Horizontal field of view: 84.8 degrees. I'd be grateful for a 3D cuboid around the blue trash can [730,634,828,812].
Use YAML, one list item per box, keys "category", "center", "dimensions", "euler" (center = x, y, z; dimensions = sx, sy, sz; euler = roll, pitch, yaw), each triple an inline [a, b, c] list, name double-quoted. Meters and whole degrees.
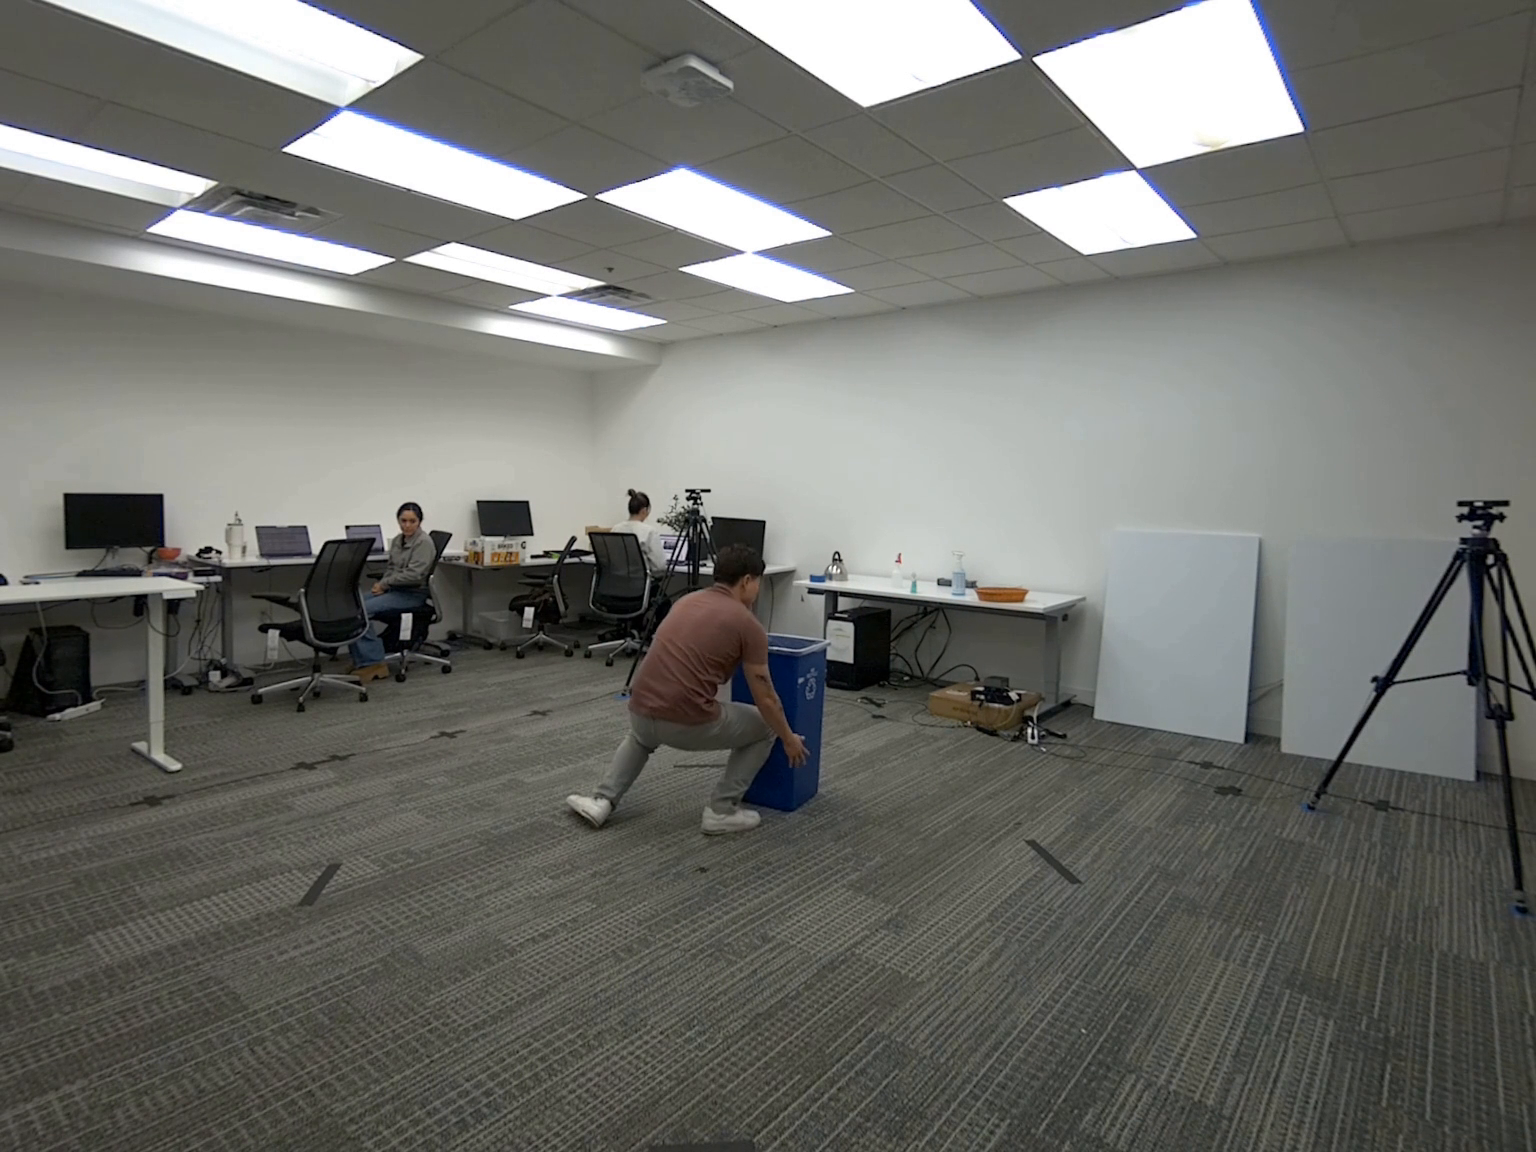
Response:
- category: "blue trash can"
  center: [0.036, 0.646, 3.884]
  dimensions: [0.389, 0.712, 0.365]
  euler: [3, 3, 27]
